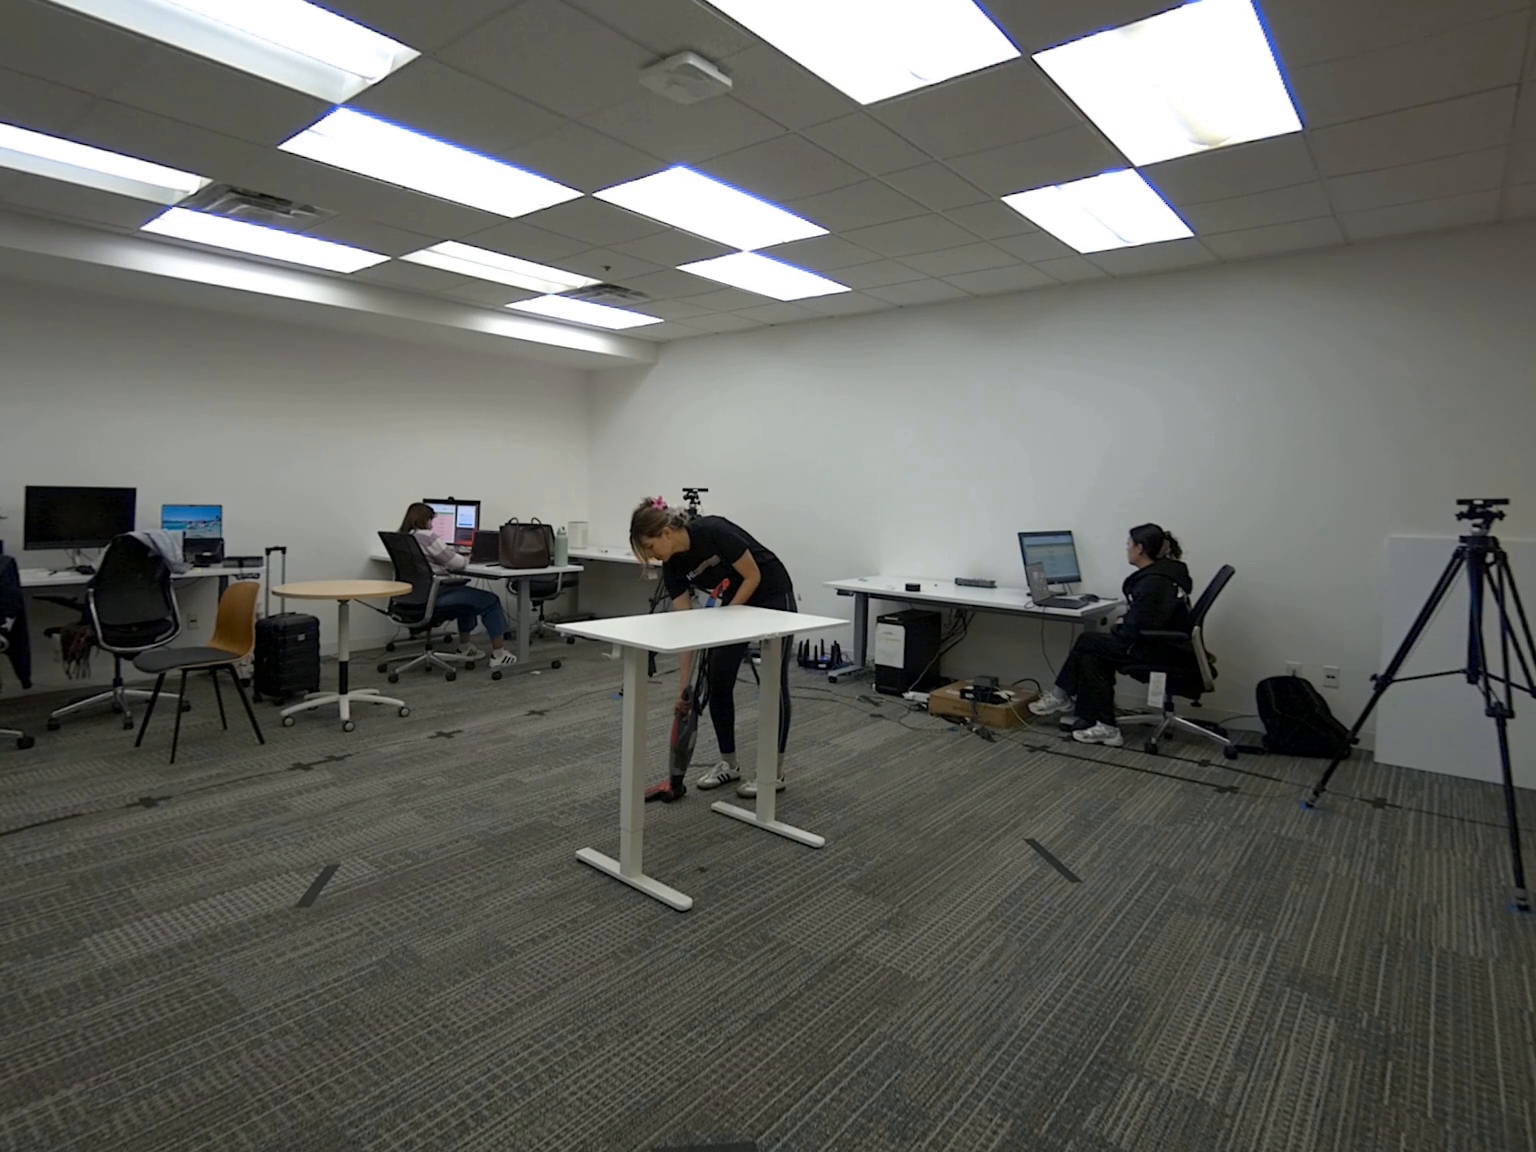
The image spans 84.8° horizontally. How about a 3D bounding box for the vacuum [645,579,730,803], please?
[{"bbox_3d":[-0.341,0.509,3.744,0.149,1.040,0.245,25,16,33],"label":"vacuum"}]
